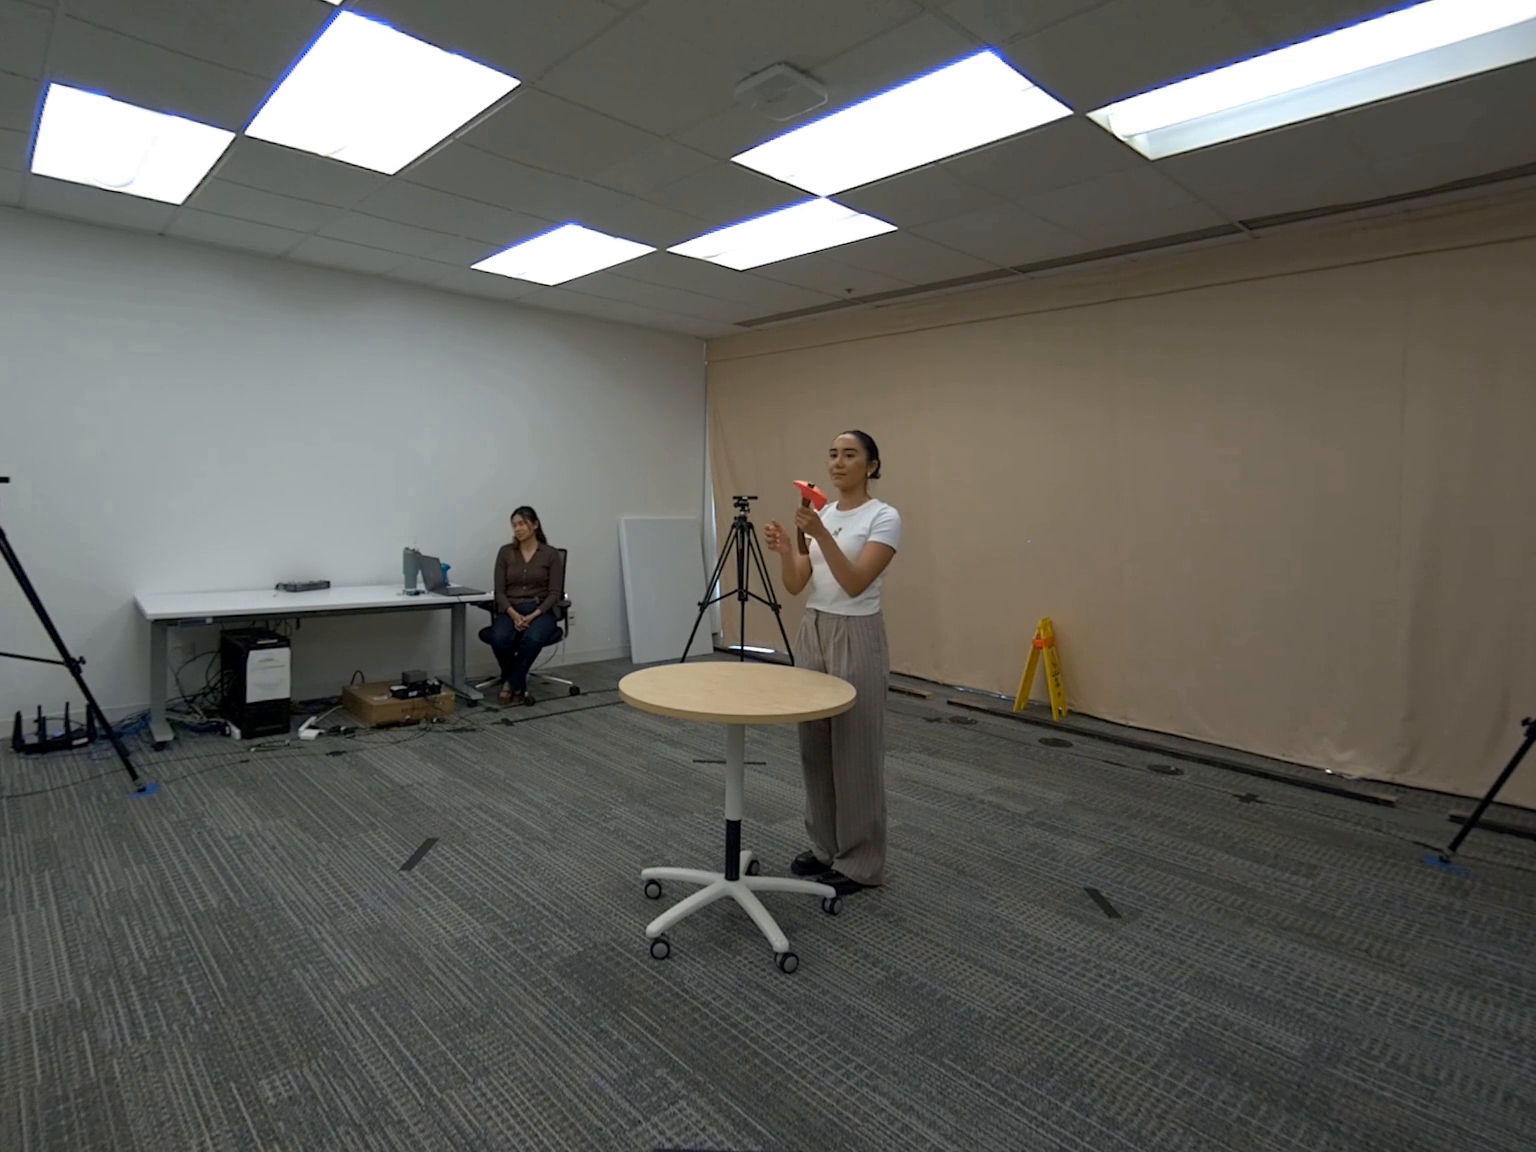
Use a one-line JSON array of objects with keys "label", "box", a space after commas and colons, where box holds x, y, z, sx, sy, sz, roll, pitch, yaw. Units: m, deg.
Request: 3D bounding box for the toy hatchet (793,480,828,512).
[{"label": "toy hatchet", "box": [0.143, -0.182, 2.749, 0.134, 0.265, 0.029, 14, 34, 35]}]
